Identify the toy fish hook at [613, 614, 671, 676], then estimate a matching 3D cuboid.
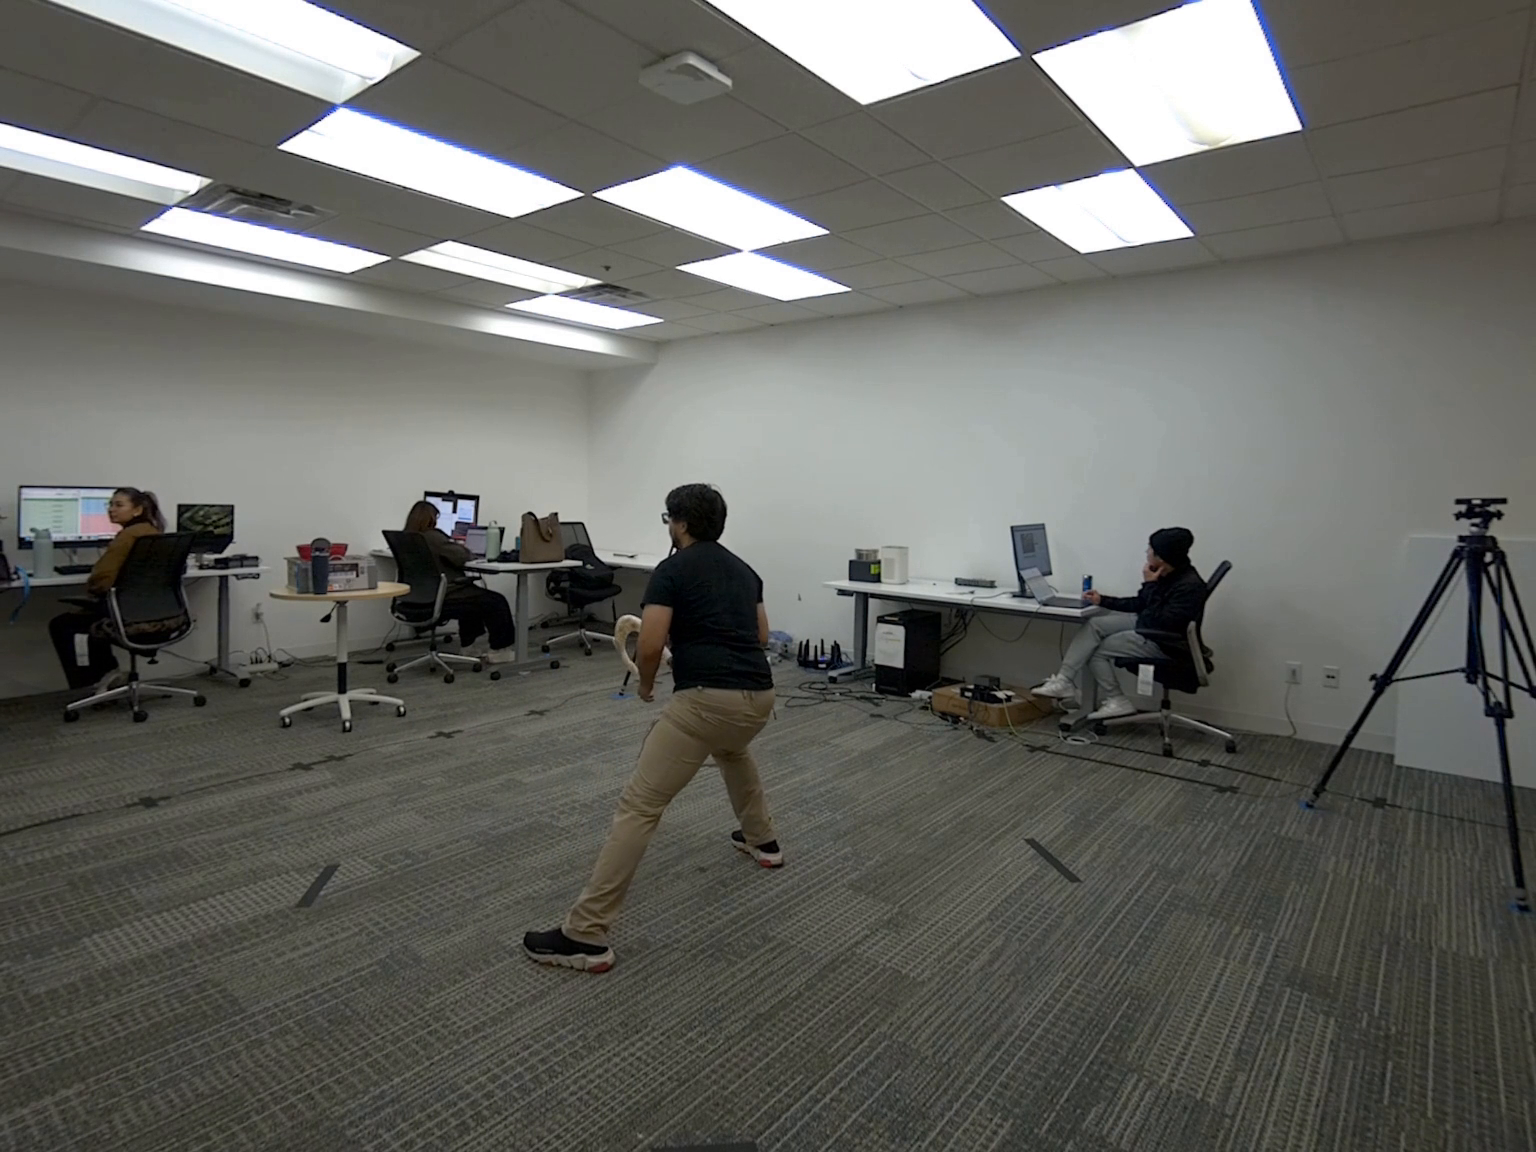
[{"bbox_3d":[-0.443,0.338,3.342,0.526,0.221,0.047,33,30,31],"label":"toy fish hook"}]
